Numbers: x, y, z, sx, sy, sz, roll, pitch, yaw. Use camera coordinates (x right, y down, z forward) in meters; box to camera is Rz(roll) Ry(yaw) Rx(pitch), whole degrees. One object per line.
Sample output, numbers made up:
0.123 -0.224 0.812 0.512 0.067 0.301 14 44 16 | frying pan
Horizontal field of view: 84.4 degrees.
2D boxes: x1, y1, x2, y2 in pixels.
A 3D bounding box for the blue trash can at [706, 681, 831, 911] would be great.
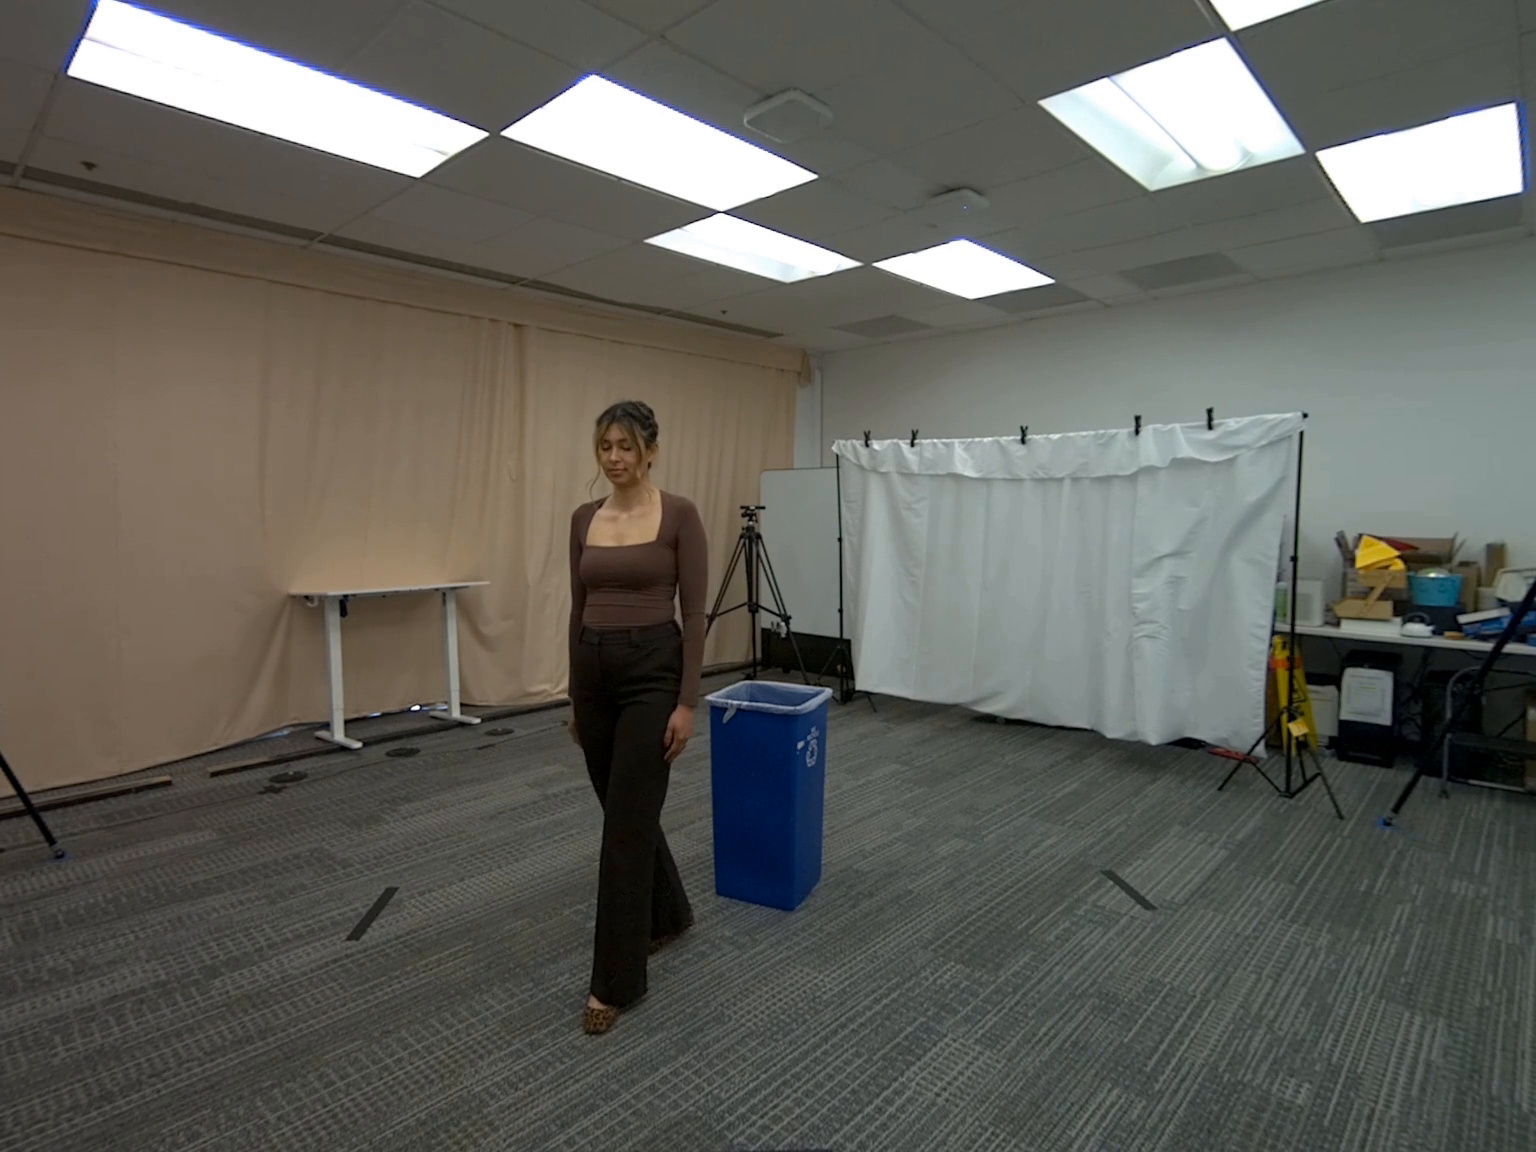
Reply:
0.005 0.778 3.062 0.384 0.712 0.369 3 4 24 | blue trash can
